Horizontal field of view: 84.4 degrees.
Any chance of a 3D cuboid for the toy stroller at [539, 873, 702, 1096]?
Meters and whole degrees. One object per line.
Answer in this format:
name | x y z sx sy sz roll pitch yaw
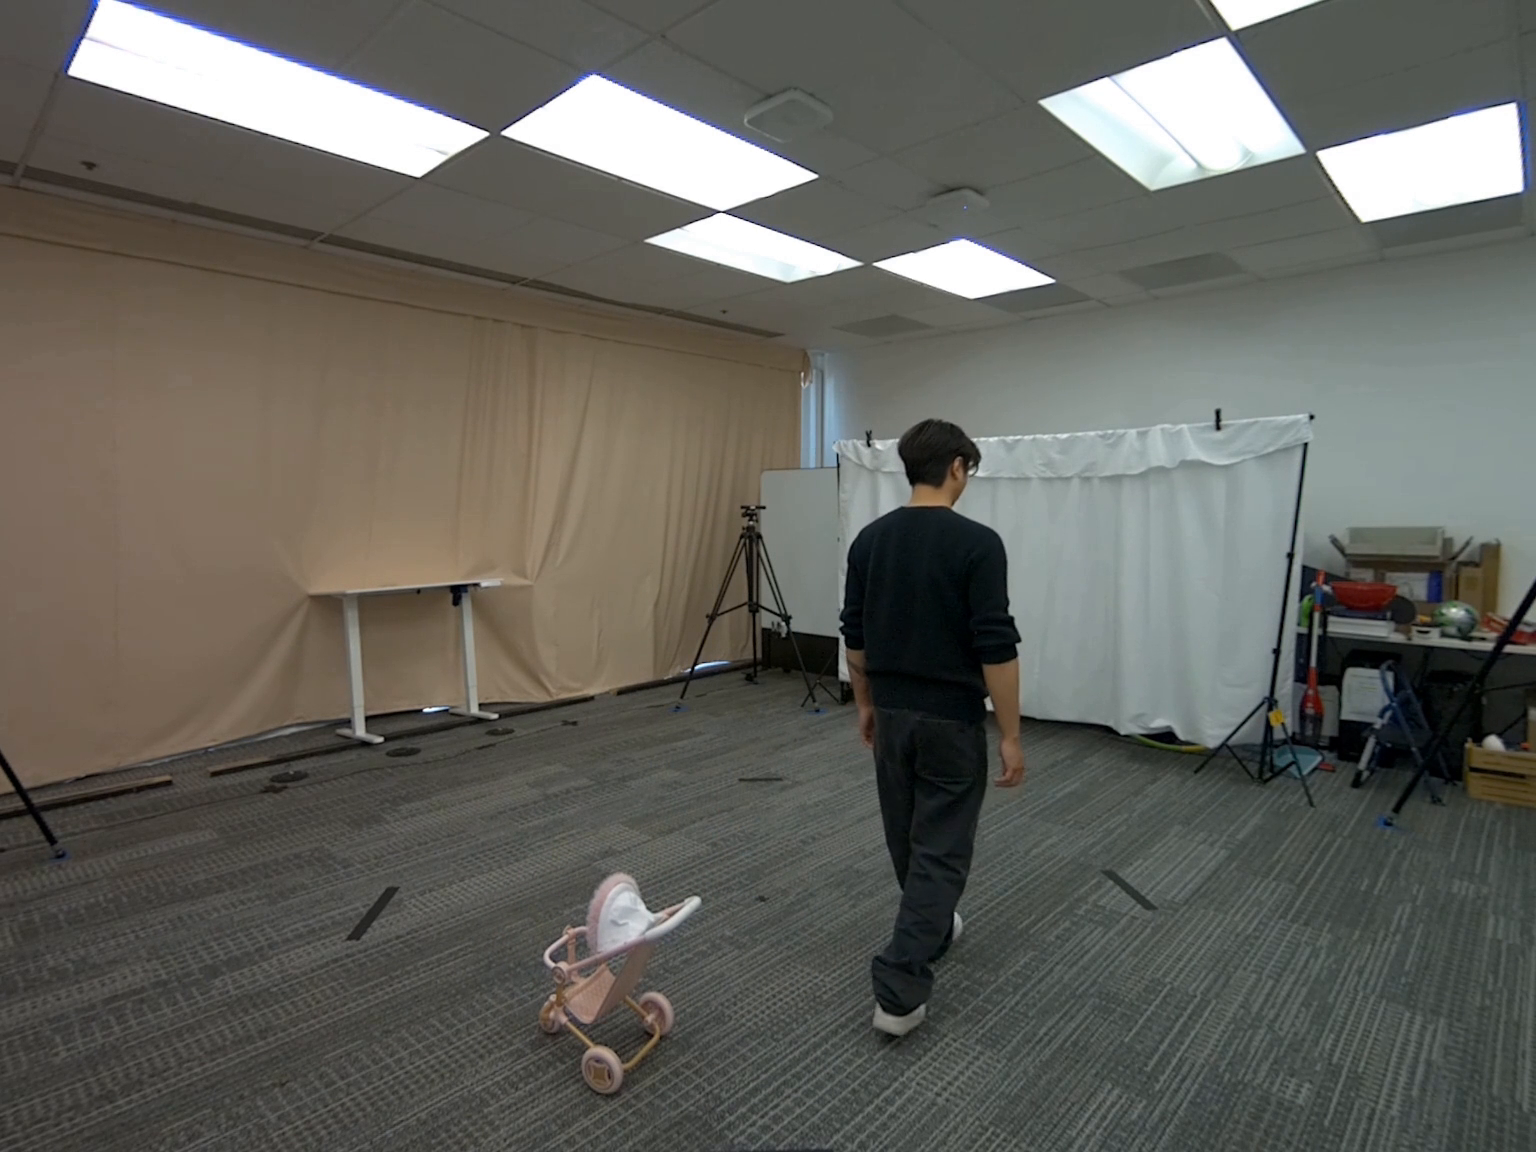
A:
toy stroller | -0.400 0.999 2.136 0.352 0.533 0.274 20 13 27
